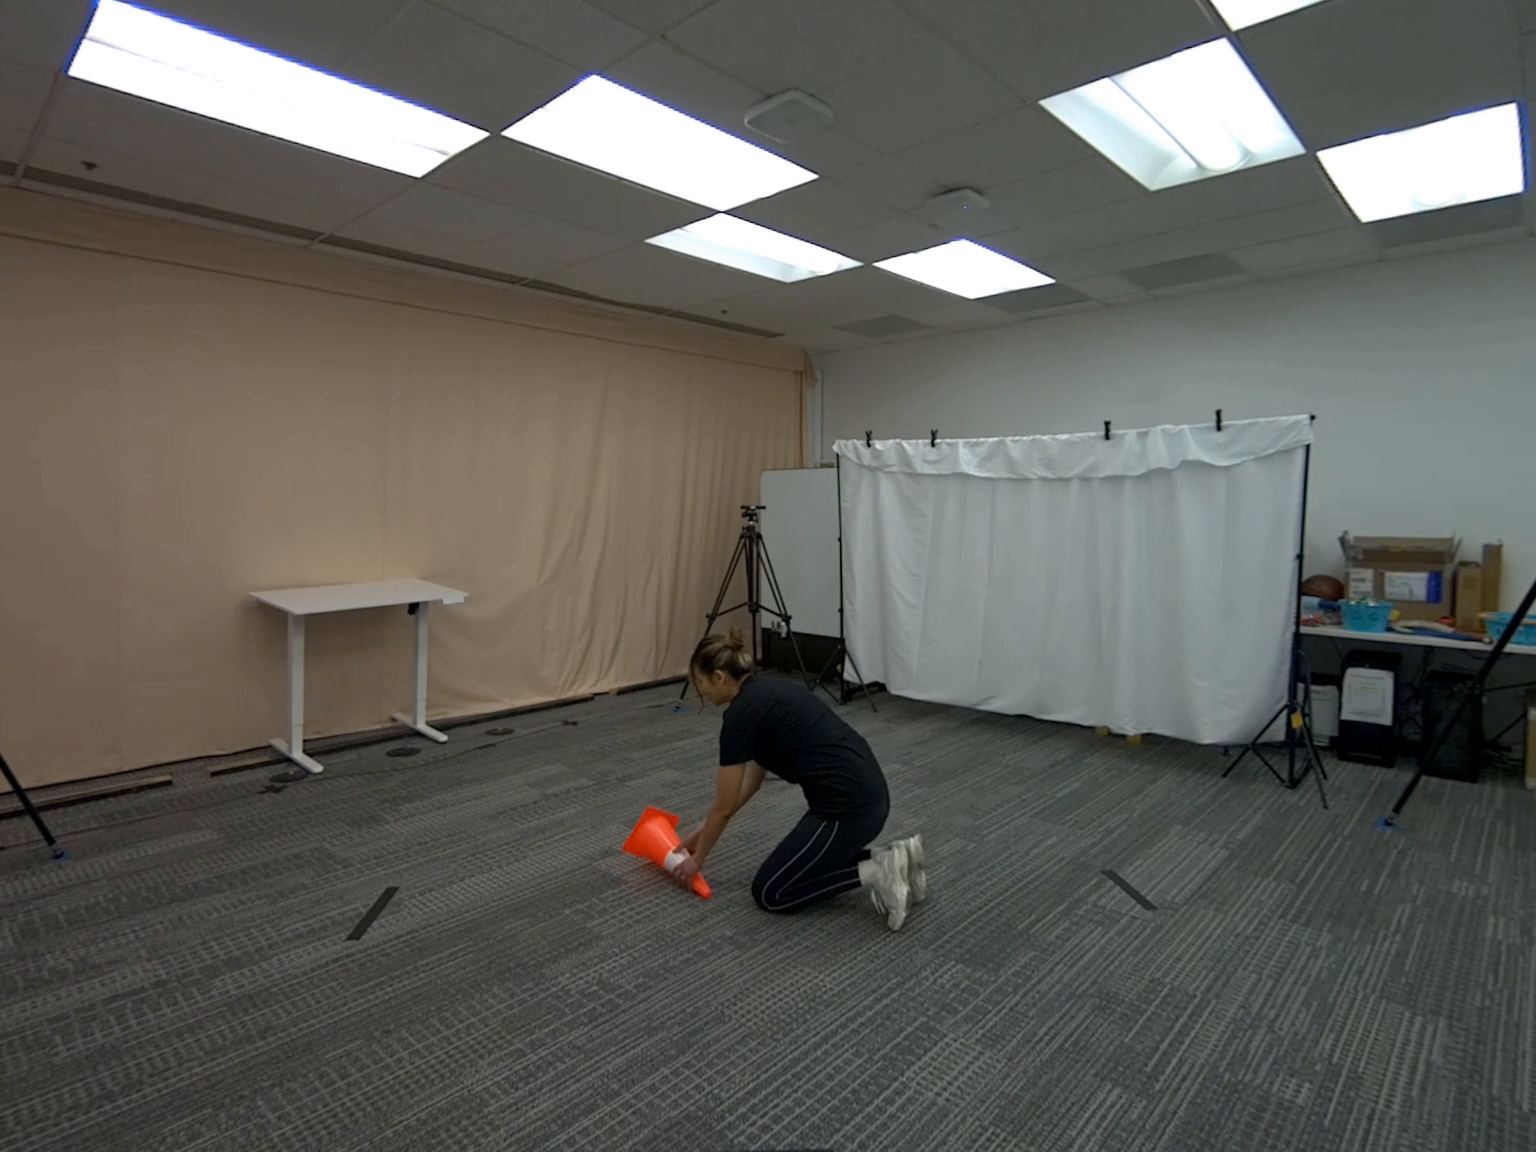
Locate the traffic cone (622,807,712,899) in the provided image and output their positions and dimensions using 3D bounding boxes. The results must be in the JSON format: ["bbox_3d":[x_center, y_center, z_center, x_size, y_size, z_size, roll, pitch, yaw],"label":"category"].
[{"bbox_3d":[-0.329,1.064,3.125,0.398,0.203,0.197,27,-7,45],"label":"traffic cone"}]
